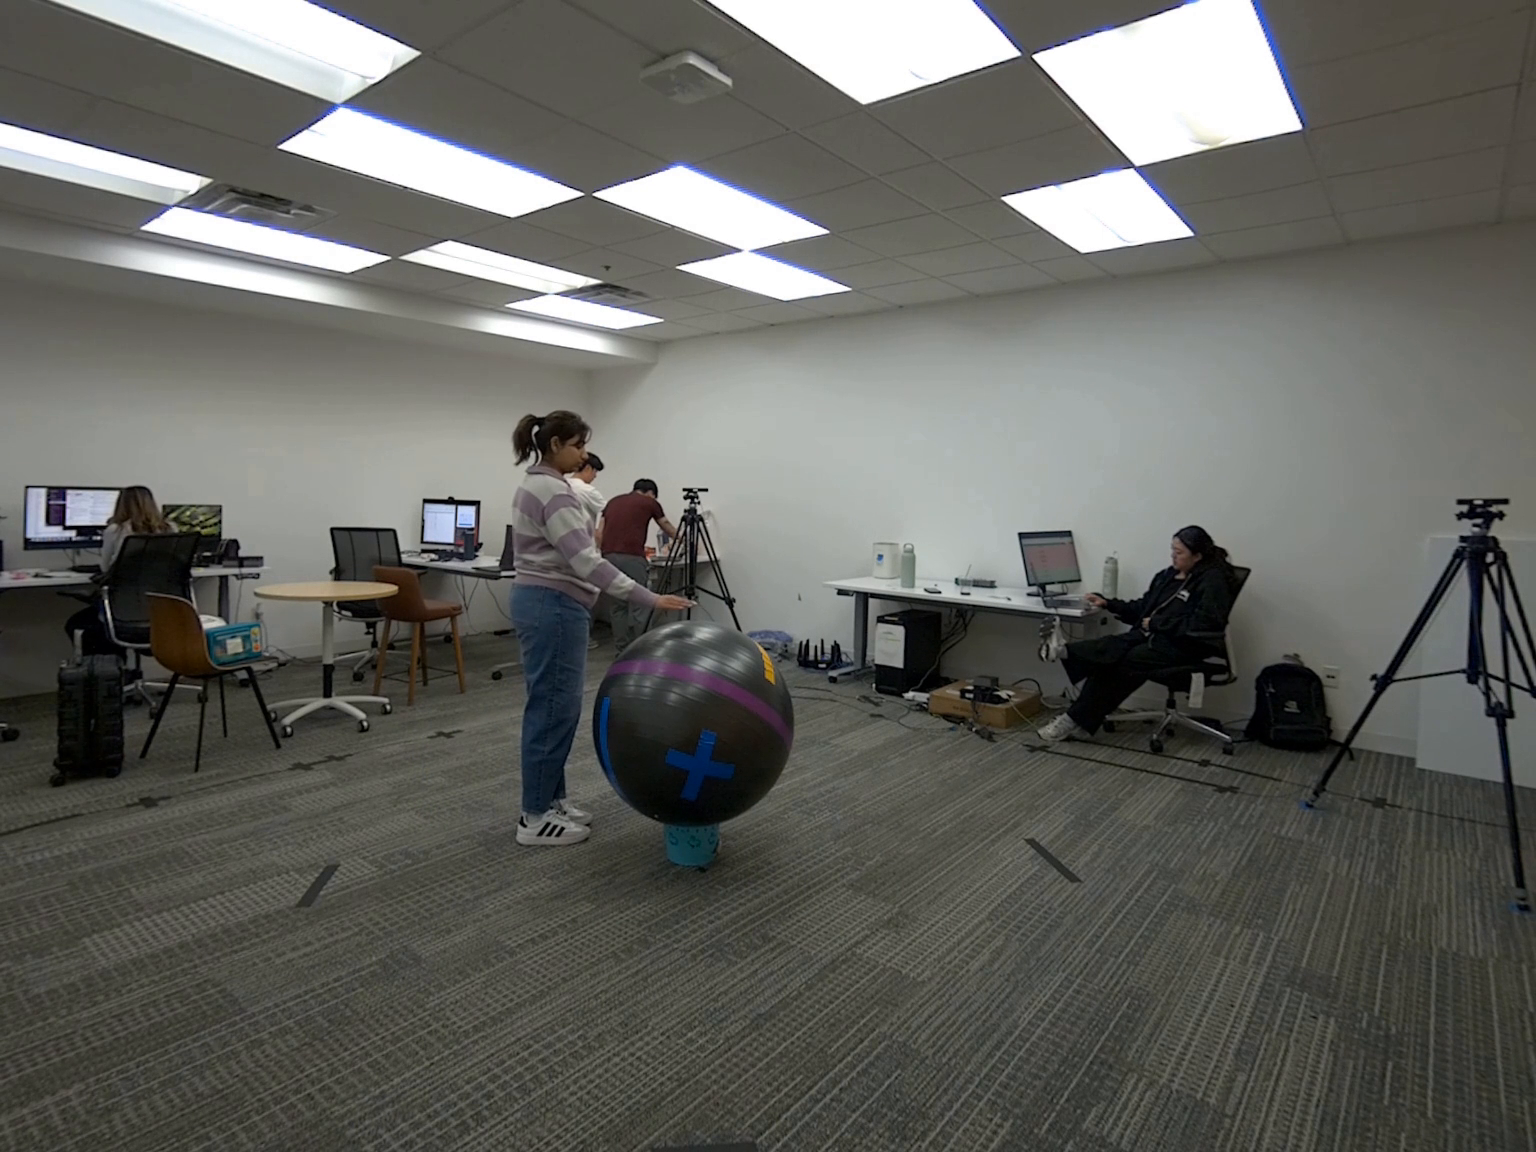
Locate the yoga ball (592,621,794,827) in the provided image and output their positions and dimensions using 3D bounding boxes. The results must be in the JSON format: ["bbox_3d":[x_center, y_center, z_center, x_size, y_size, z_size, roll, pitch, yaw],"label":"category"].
[{"bbox_3d":[-0.288,0.551,3.202,0.757,0.756,0.762,1,4,-2],"label":"yoga ball"}]
